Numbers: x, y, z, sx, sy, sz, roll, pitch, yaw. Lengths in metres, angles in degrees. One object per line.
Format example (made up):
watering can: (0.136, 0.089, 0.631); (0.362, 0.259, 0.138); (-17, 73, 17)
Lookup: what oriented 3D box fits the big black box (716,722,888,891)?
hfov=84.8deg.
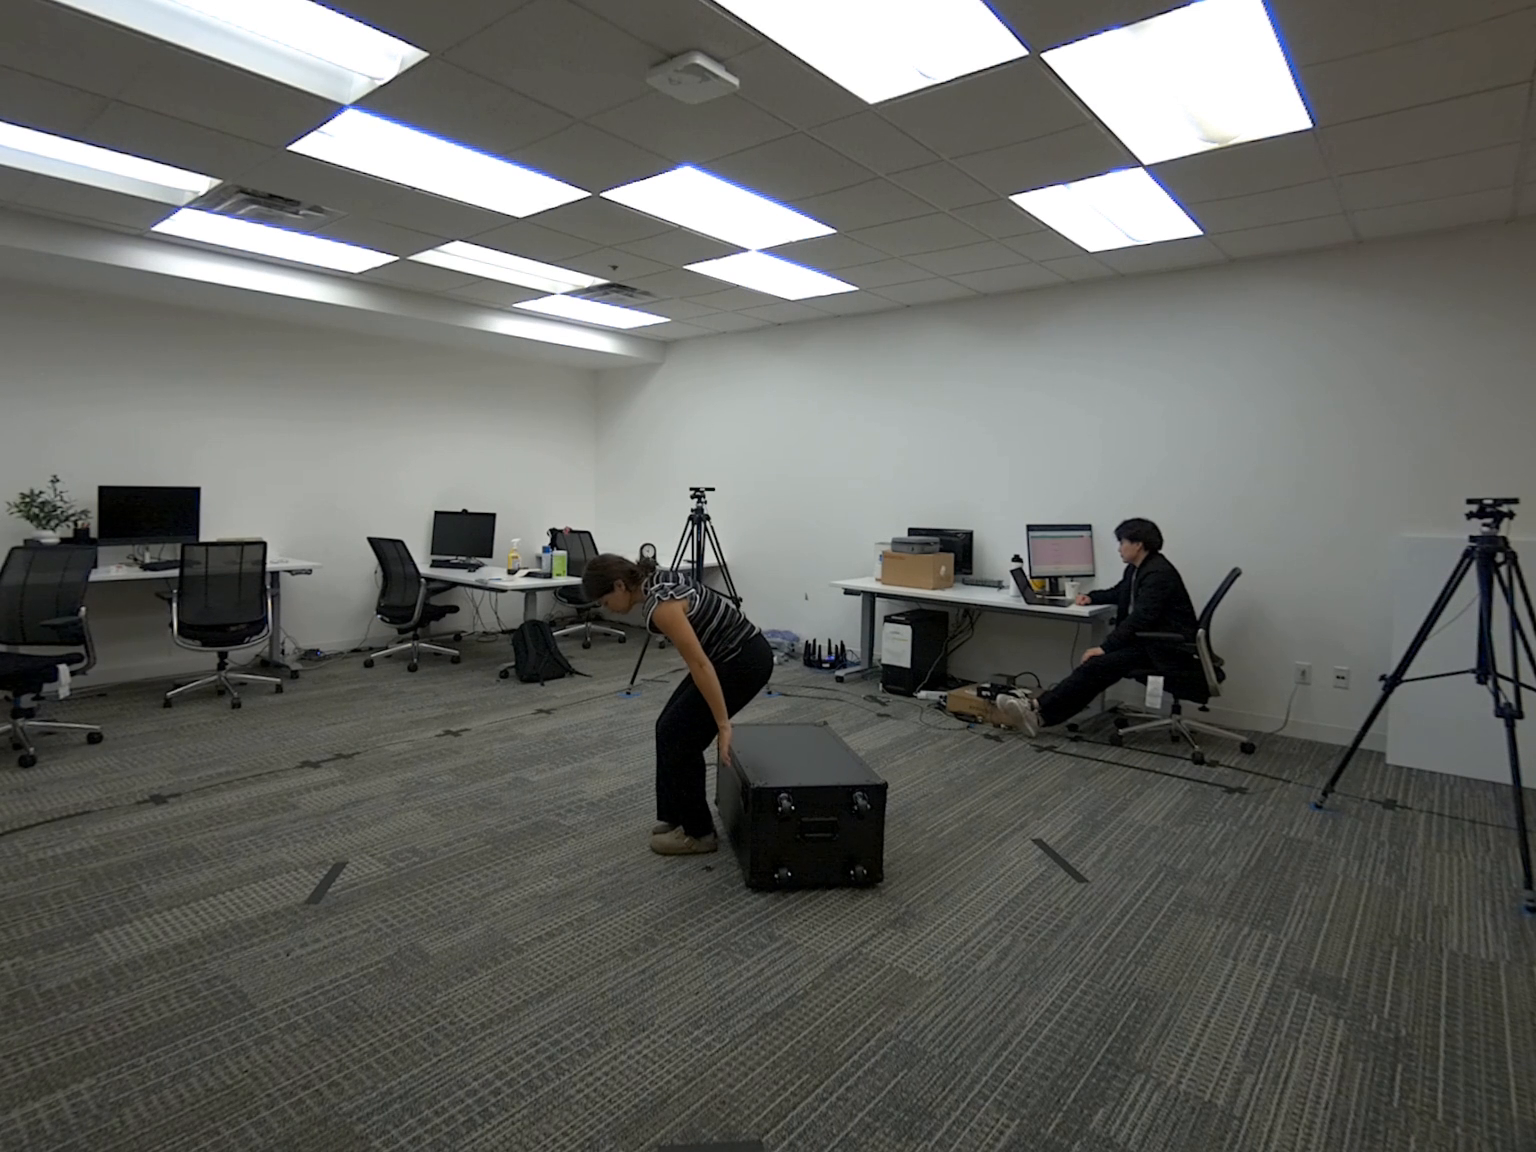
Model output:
big black box: (0.091, 0.861, 3.285); (0.515, 0.395, 0.875); (0, 5, -12)
